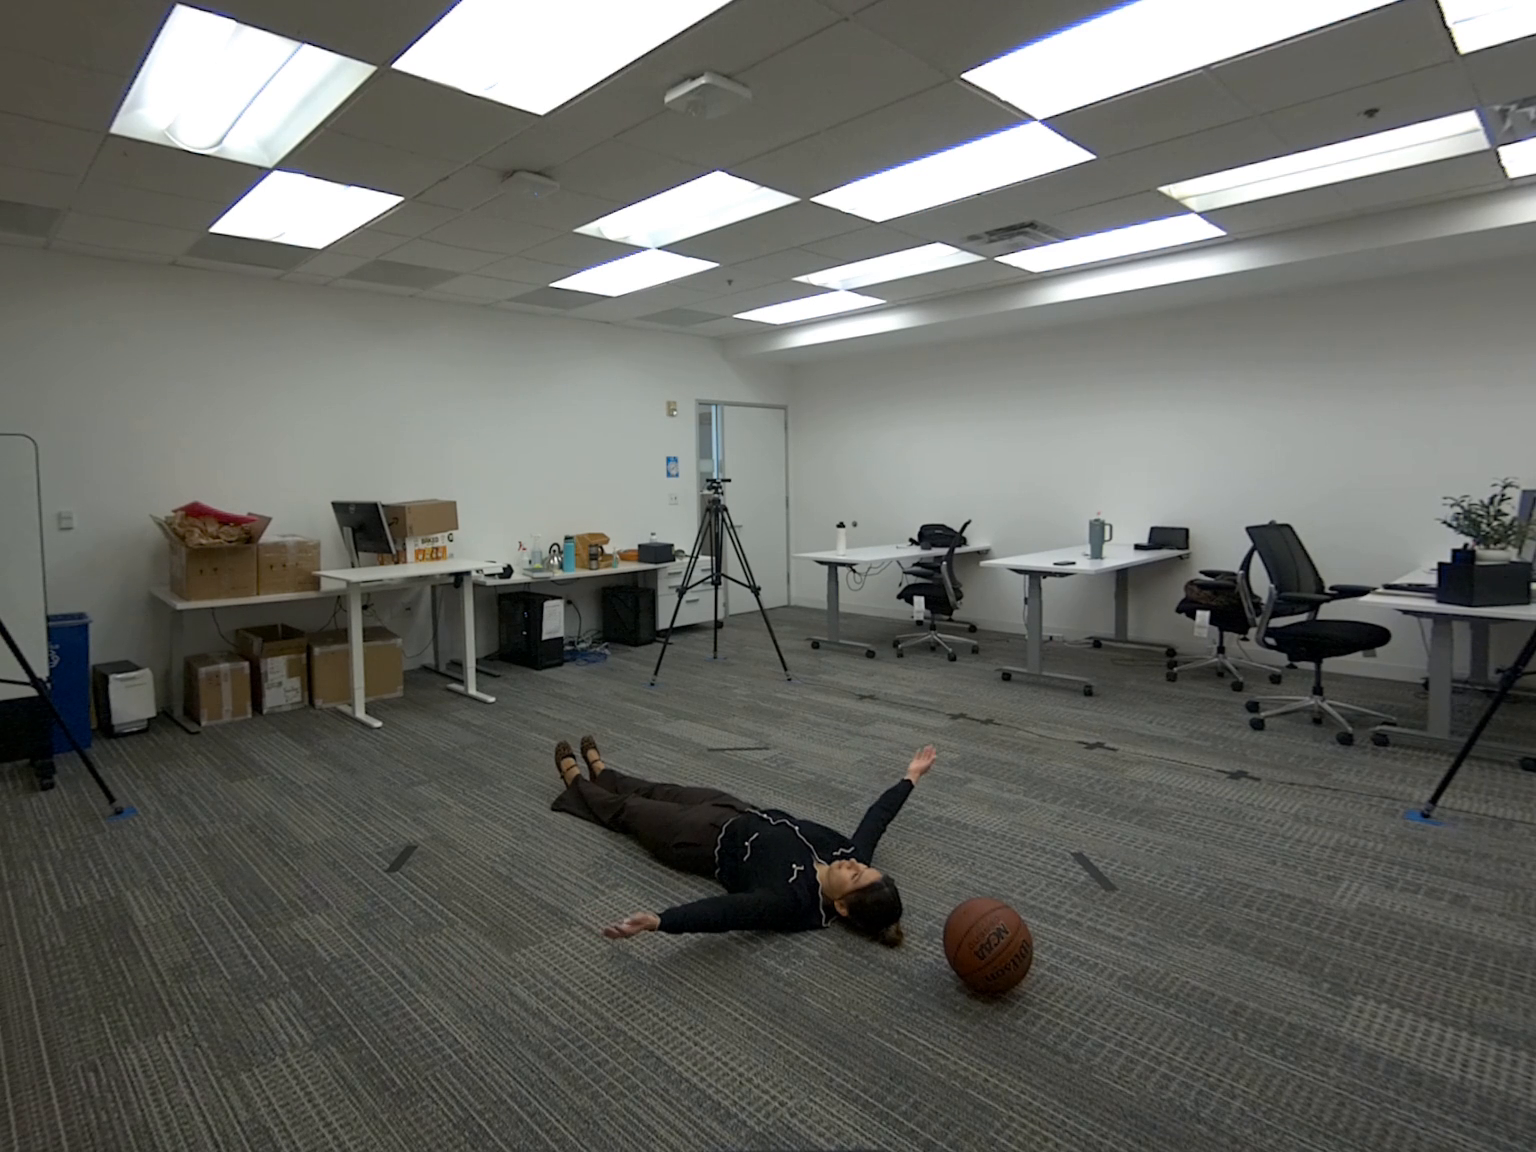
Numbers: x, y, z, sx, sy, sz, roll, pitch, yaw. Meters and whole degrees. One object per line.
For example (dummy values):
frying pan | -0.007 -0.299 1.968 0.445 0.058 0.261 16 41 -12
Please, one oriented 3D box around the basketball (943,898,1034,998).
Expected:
basketball | 0.604 1.003 2.328 0.236 0.235 0.237 -1 5 -2
